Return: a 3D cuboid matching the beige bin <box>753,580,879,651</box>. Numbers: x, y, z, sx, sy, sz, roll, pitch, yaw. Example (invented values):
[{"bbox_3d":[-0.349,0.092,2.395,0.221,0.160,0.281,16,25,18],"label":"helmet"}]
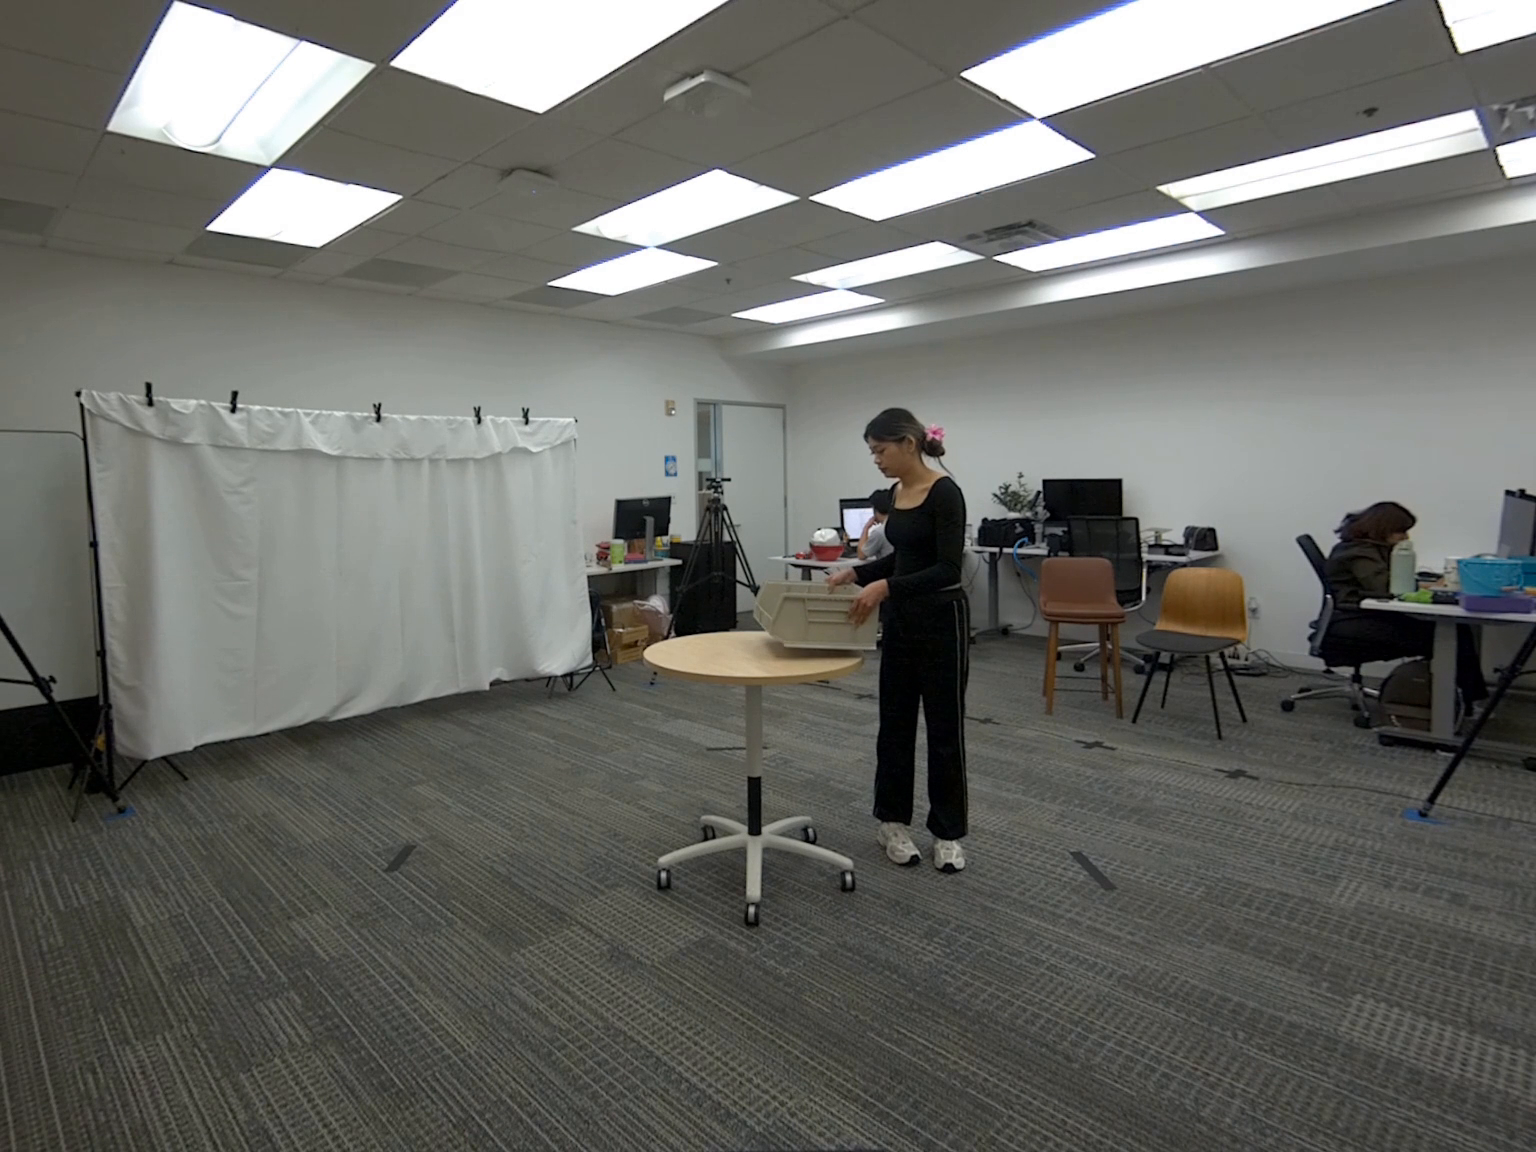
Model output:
[{"bbox_3d":[0.166,0.132,3.028,0.375,0.188,0.426,2,4,-7],"label":"beige bin"}]
